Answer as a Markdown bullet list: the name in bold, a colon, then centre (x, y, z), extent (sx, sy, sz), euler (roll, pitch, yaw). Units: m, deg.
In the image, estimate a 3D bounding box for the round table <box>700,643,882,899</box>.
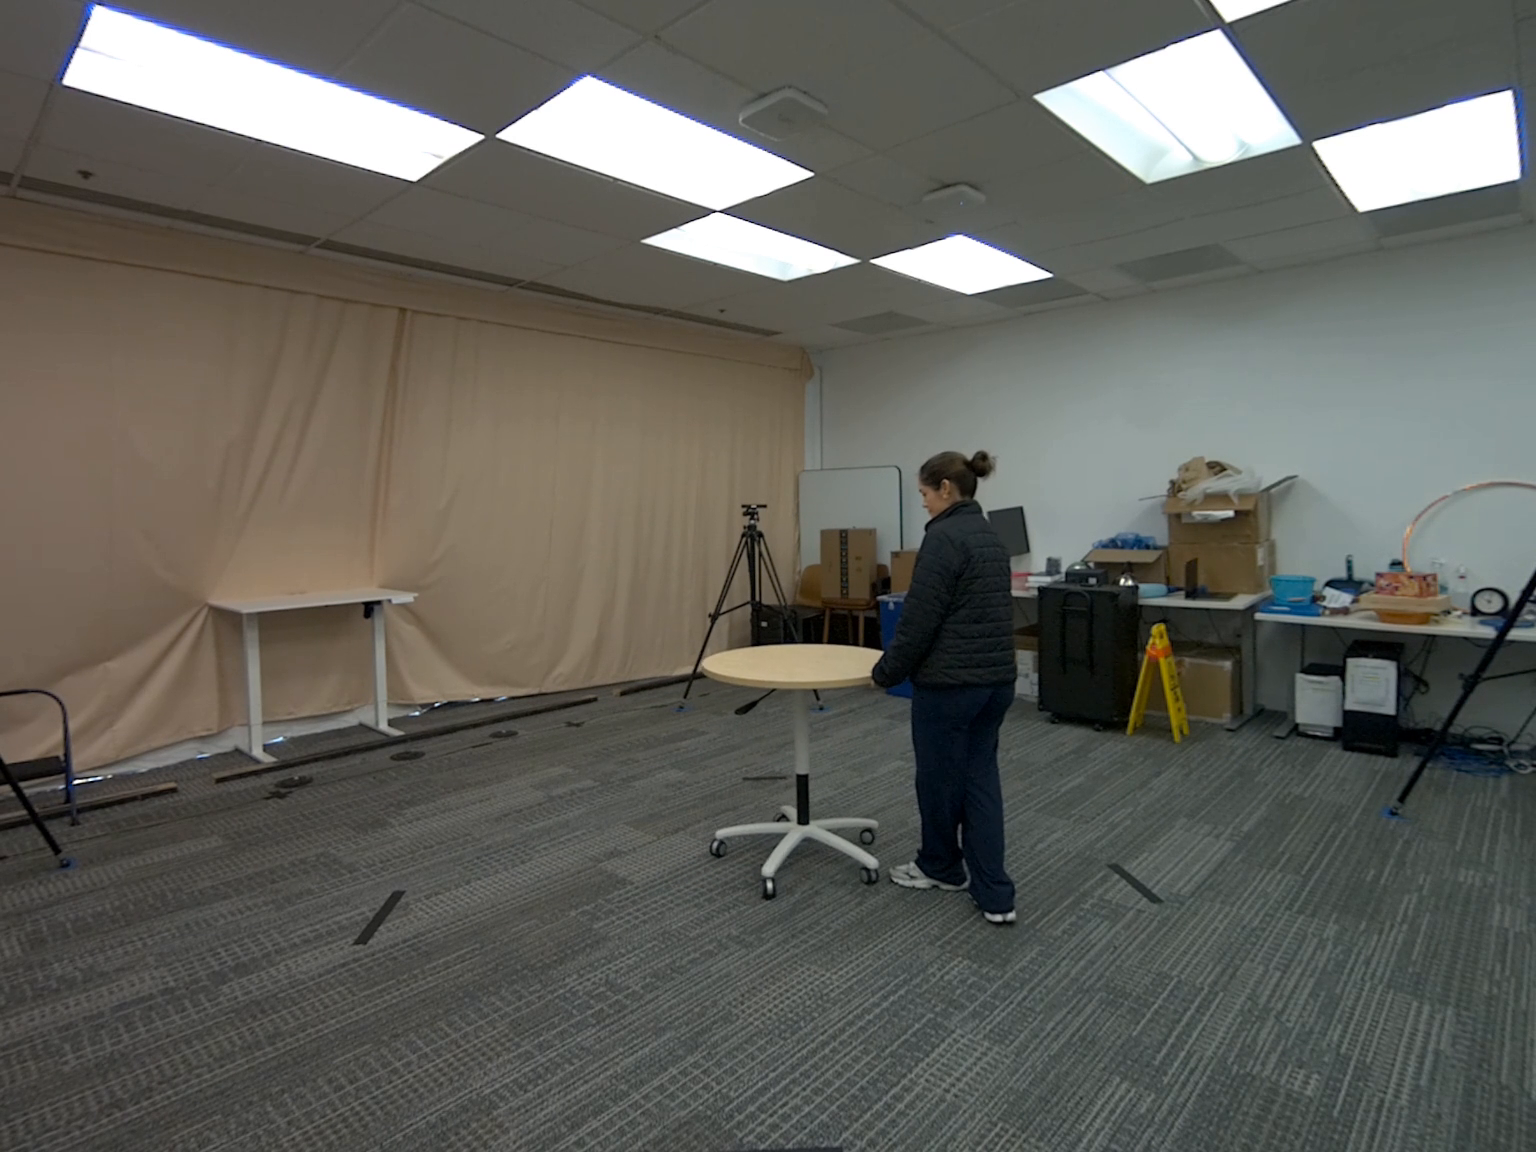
- **round table**: centre (0.151, 0.717, 3.274), extent (0.784, 0.785, 0.787), euler (-1, 3, -2)
